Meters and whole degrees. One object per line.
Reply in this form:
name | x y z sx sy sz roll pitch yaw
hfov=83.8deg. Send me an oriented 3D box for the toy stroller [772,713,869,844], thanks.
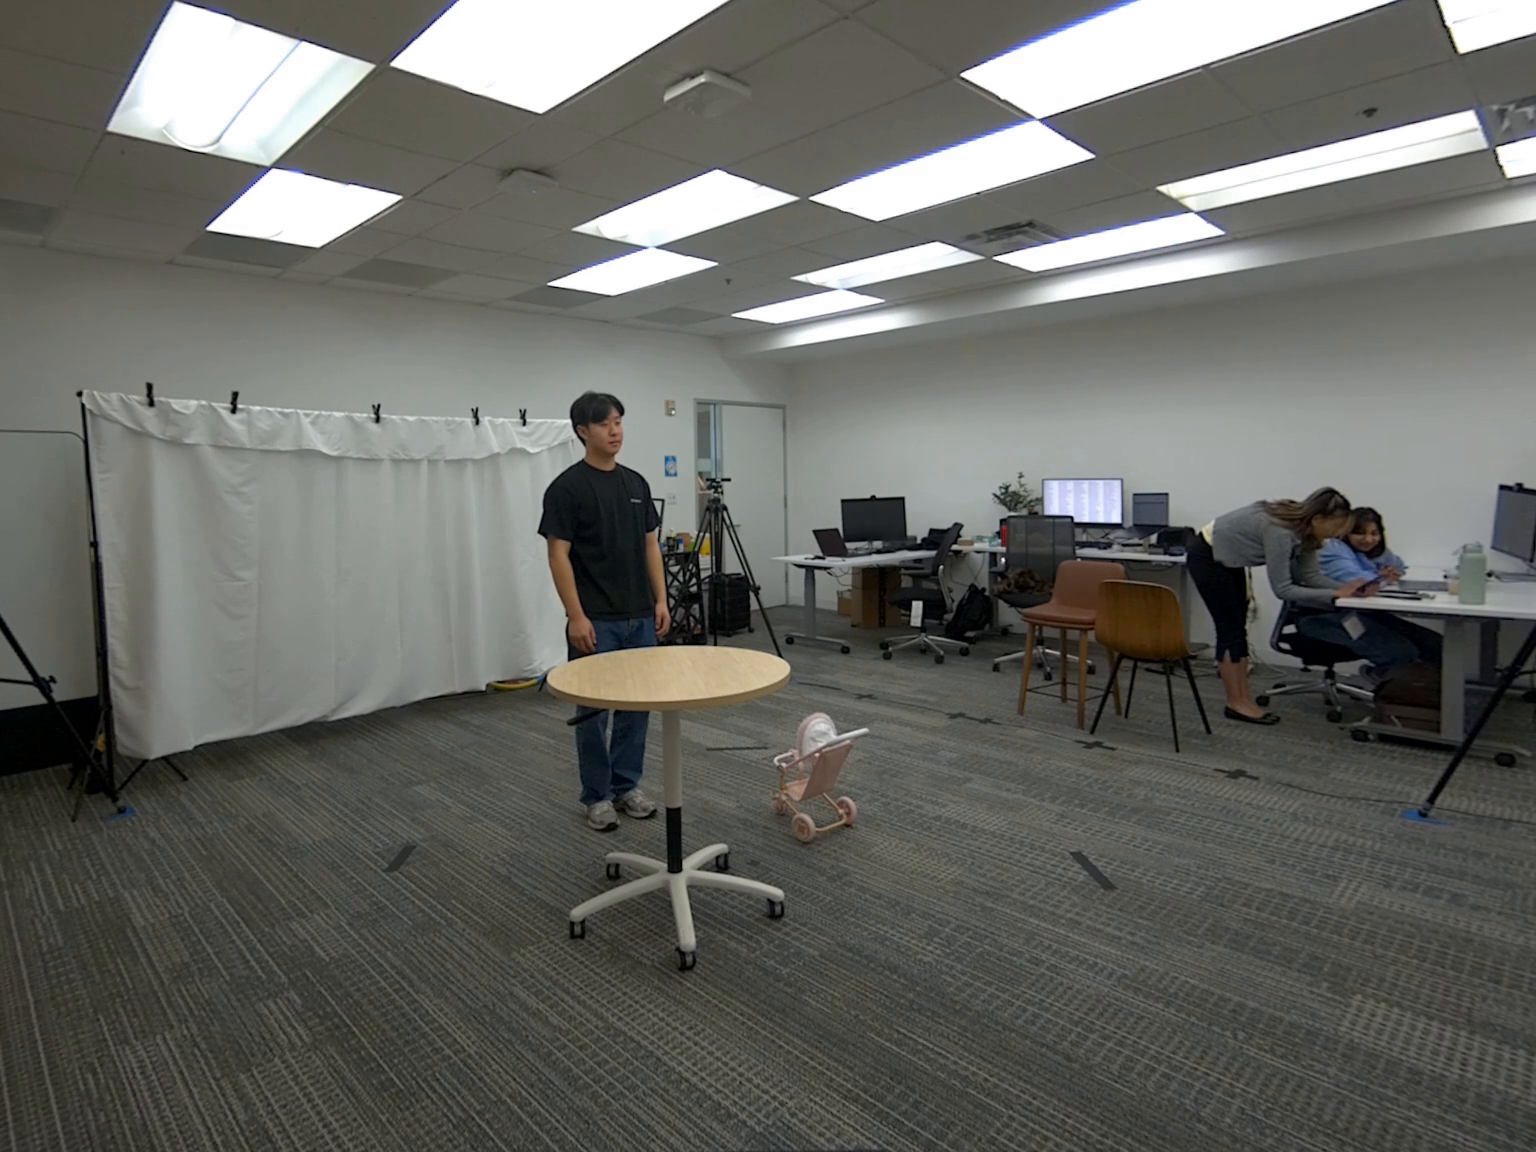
toy stroller | 0.187 0.780 3.395 0.274 0.528 0.354 -4 21 -38
